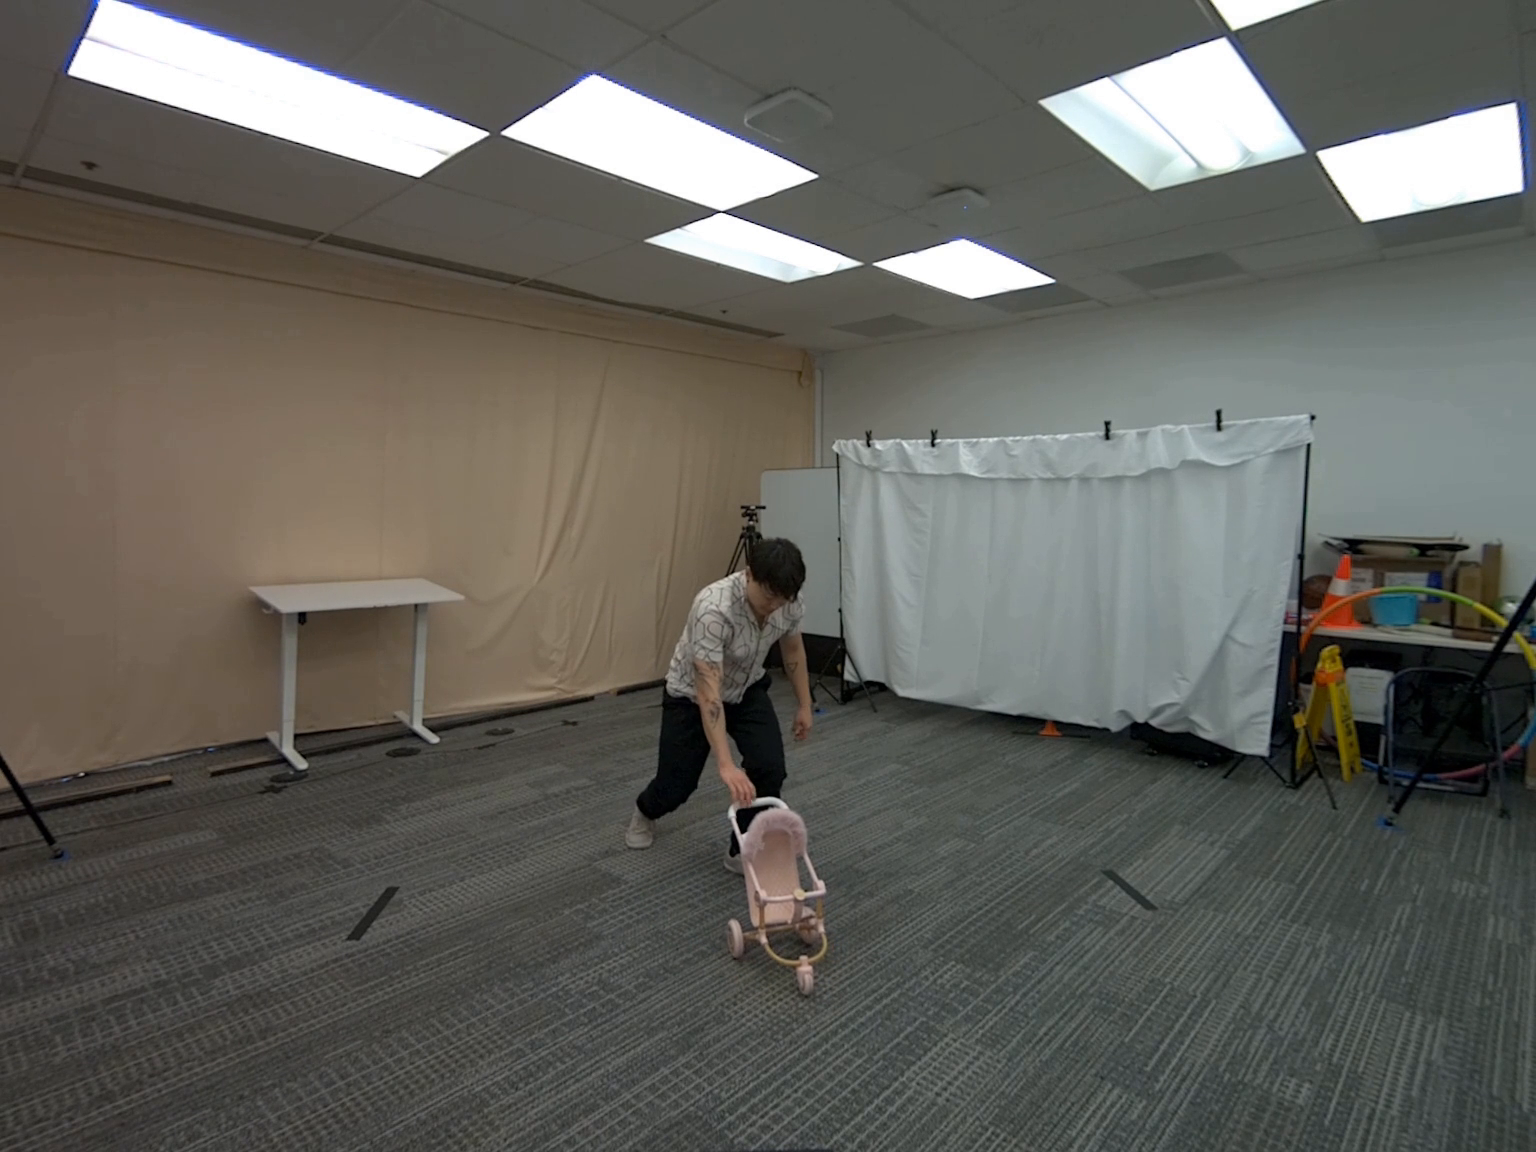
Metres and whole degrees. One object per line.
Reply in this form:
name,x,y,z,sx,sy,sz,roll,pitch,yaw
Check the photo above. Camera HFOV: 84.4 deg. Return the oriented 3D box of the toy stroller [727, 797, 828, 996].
toy stroller,0.036,0.956,2.575,0.277,0.540,0.344,-2,-13,-16
